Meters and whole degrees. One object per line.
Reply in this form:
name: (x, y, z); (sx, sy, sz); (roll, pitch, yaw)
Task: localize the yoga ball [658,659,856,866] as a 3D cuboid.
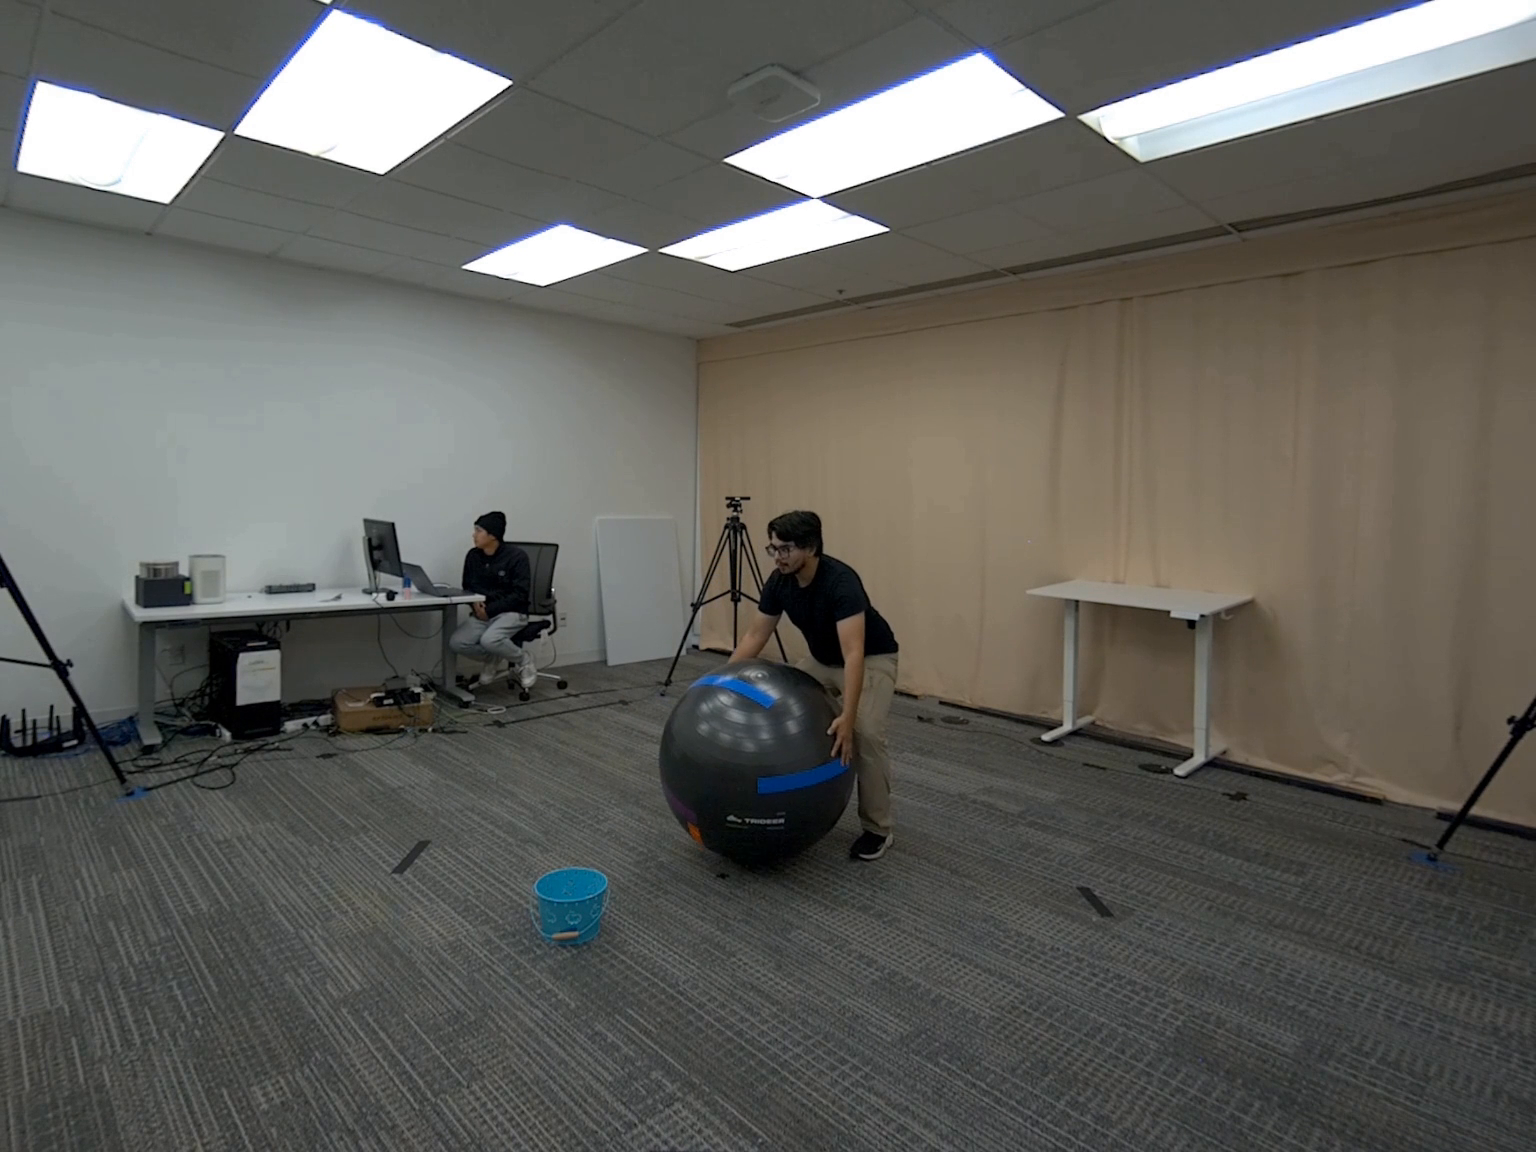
yoga ball: (-0.047, 0.705, 3.243); (0.757, 0.756, 0.760); (1, 4, -1)
